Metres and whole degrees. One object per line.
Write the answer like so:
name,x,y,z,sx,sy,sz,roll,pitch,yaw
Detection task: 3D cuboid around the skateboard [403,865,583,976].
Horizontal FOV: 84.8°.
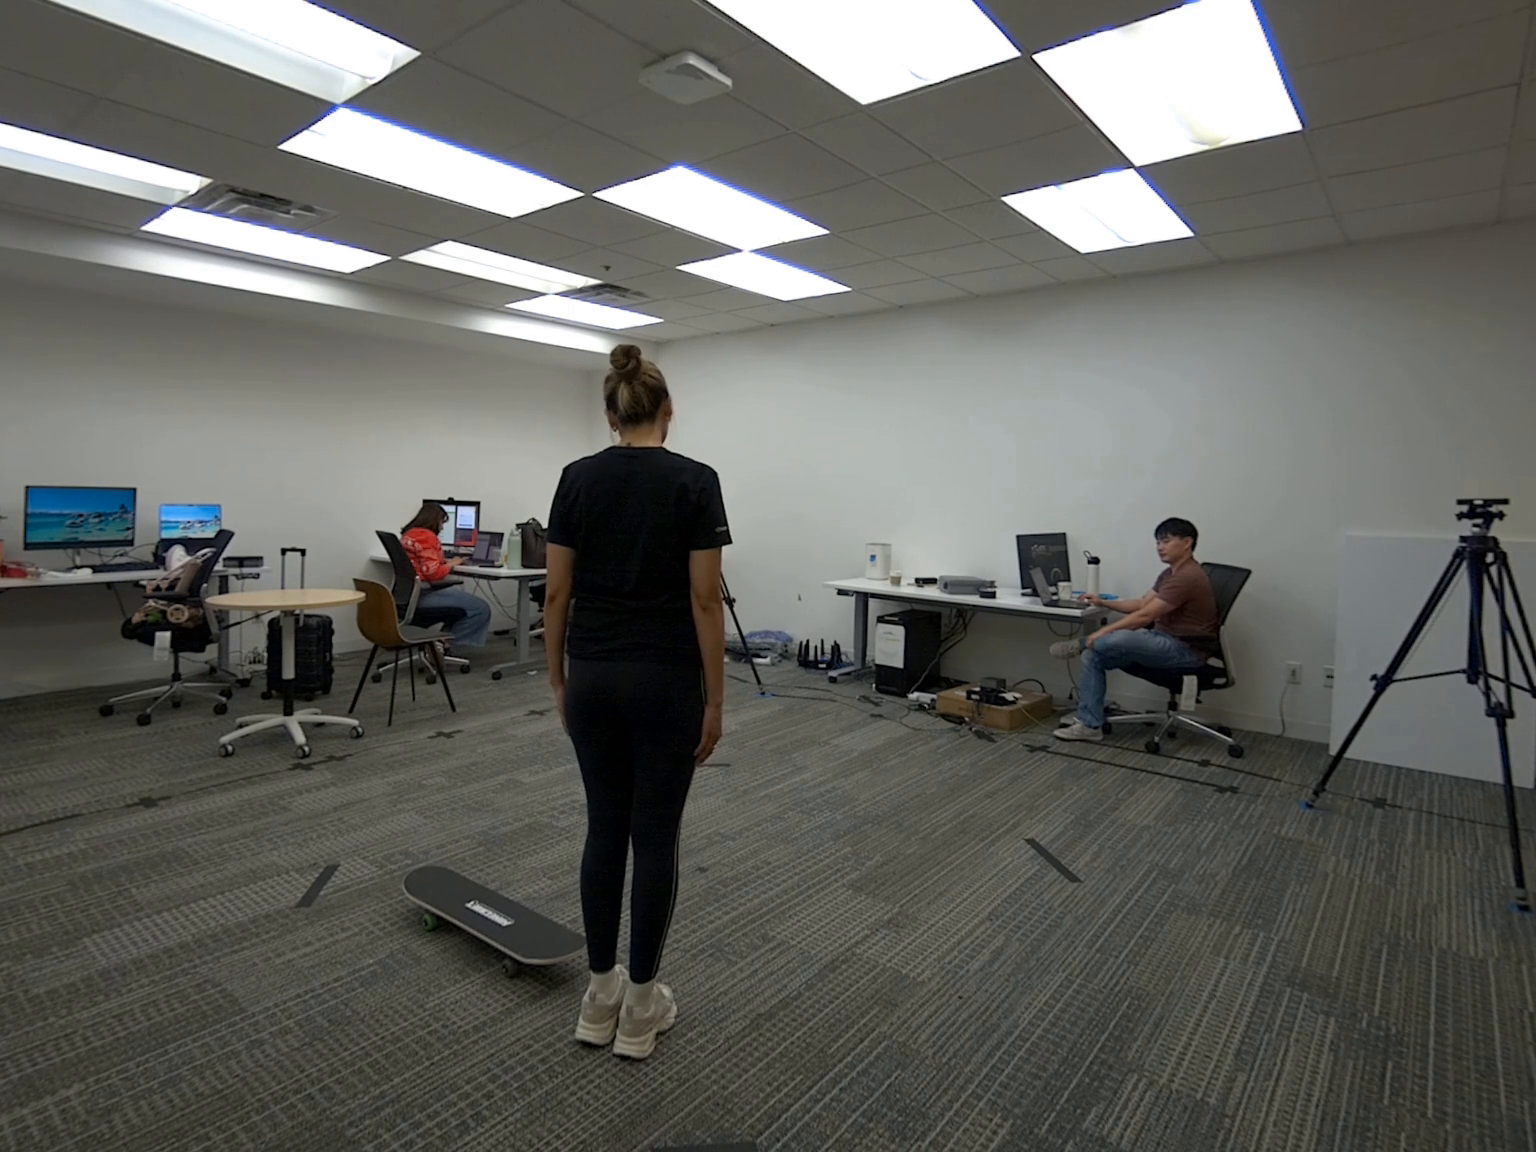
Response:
skateboard,-0.864,1.054,2.588,0.811,0.110,0.188,5,7,37
